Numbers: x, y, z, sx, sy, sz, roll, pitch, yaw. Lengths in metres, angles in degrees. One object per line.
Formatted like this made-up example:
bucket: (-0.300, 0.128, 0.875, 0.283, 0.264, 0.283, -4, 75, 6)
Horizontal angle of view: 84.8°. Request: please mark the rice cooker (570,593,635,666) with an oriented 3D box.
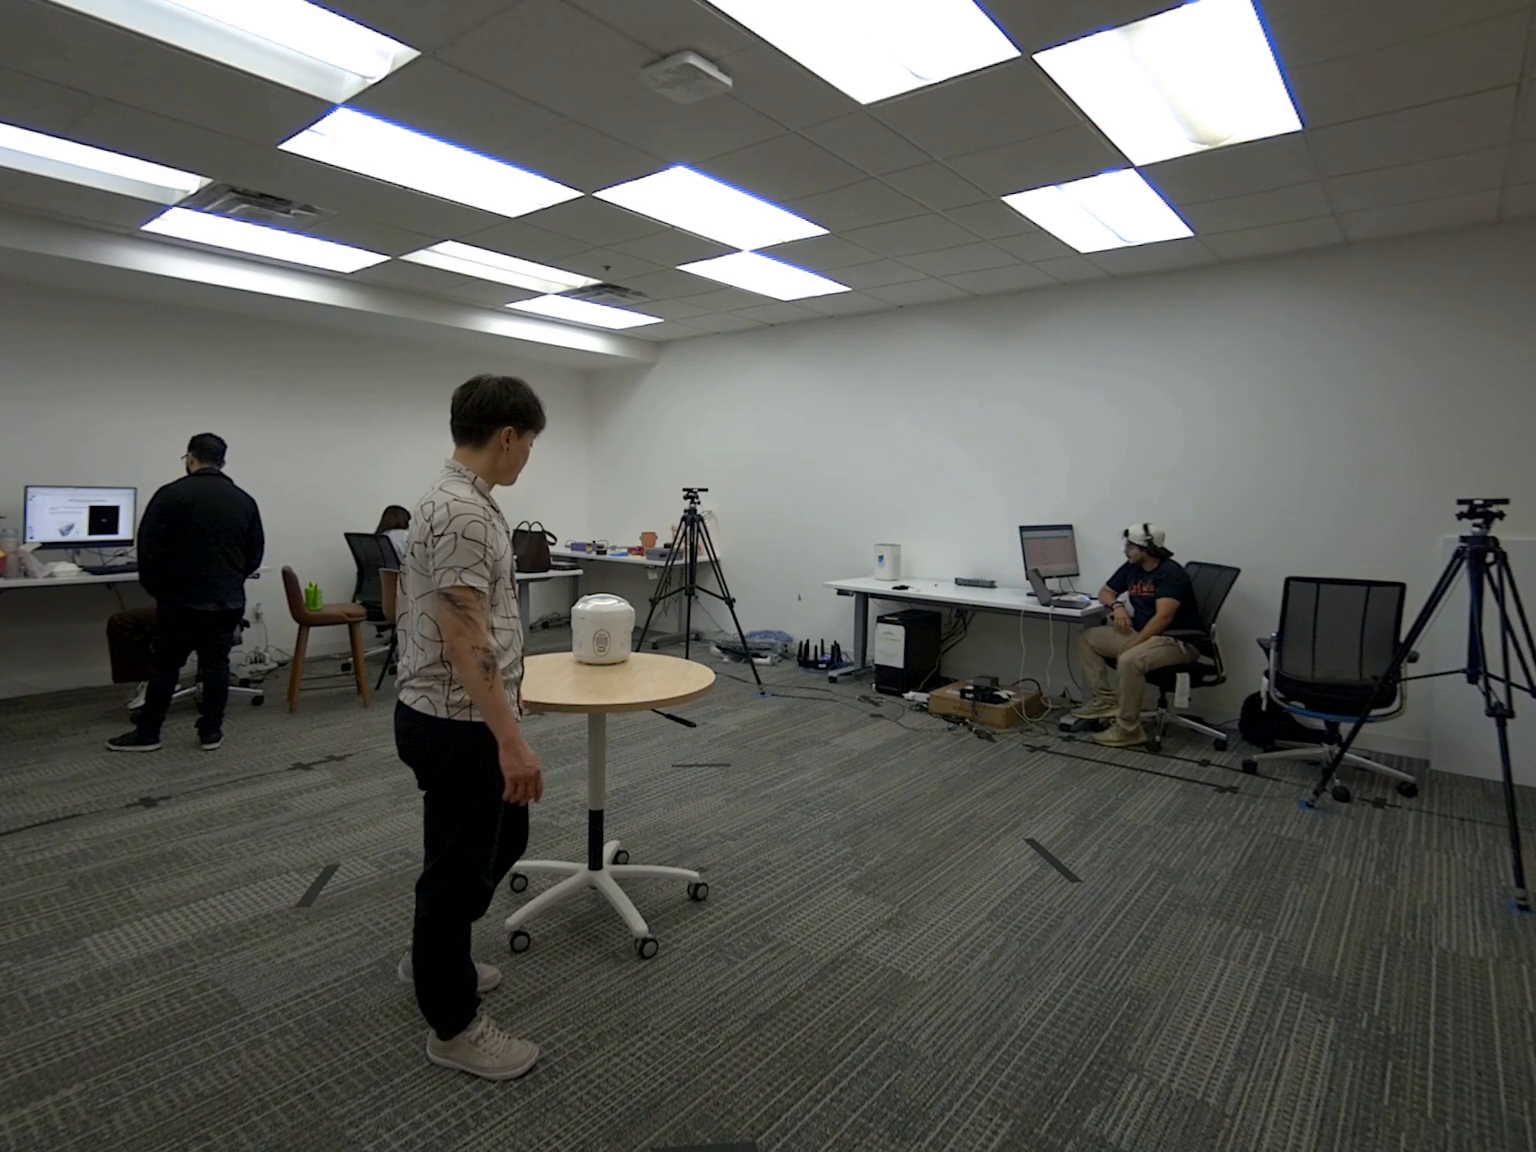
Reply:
rice cooker: (-0.587, 0.176, 2.970, 0.219, 0.232, 0.220, 1, 4, -8)
